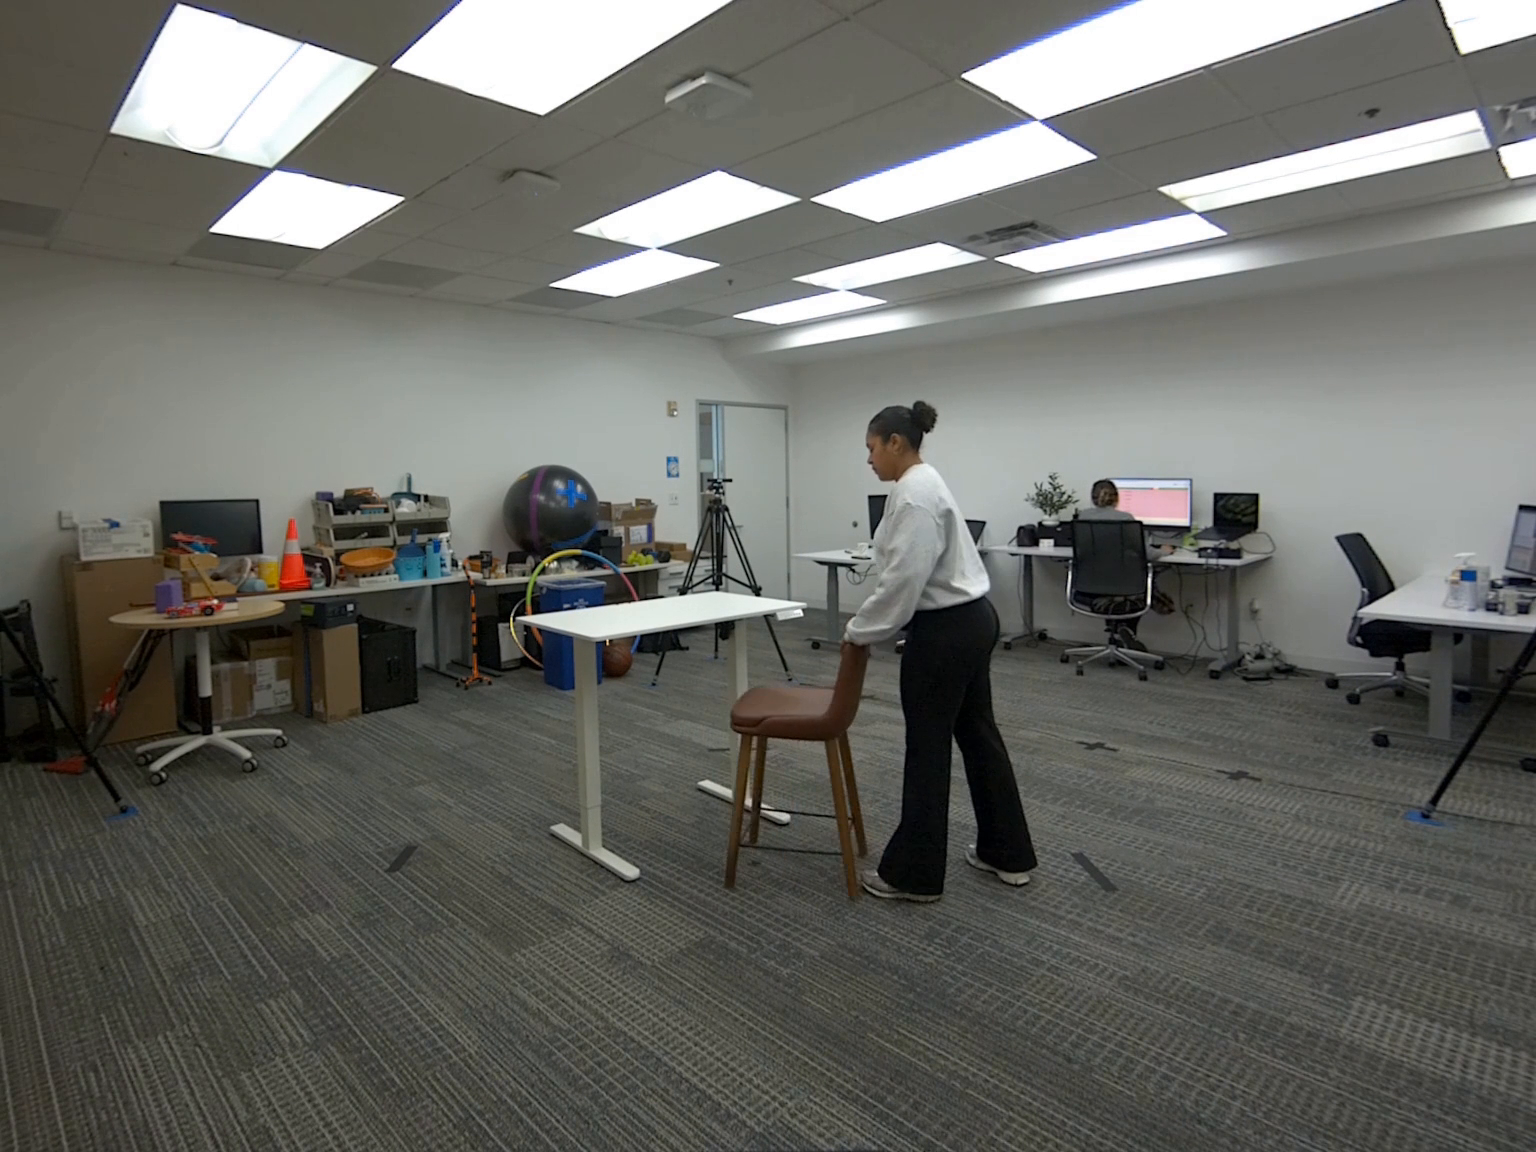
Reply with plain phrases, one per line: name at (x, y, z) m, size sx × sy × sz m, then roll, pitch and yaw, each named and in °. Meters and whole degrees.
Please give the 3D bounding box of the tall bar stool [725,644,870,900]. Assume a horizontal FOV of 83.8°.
tall bar stool at (0.119, 0.615, 3.032) m, size 0.475 × 0.887 × 0.451 m, roll 3°, pitch 4°, yaw 14°
